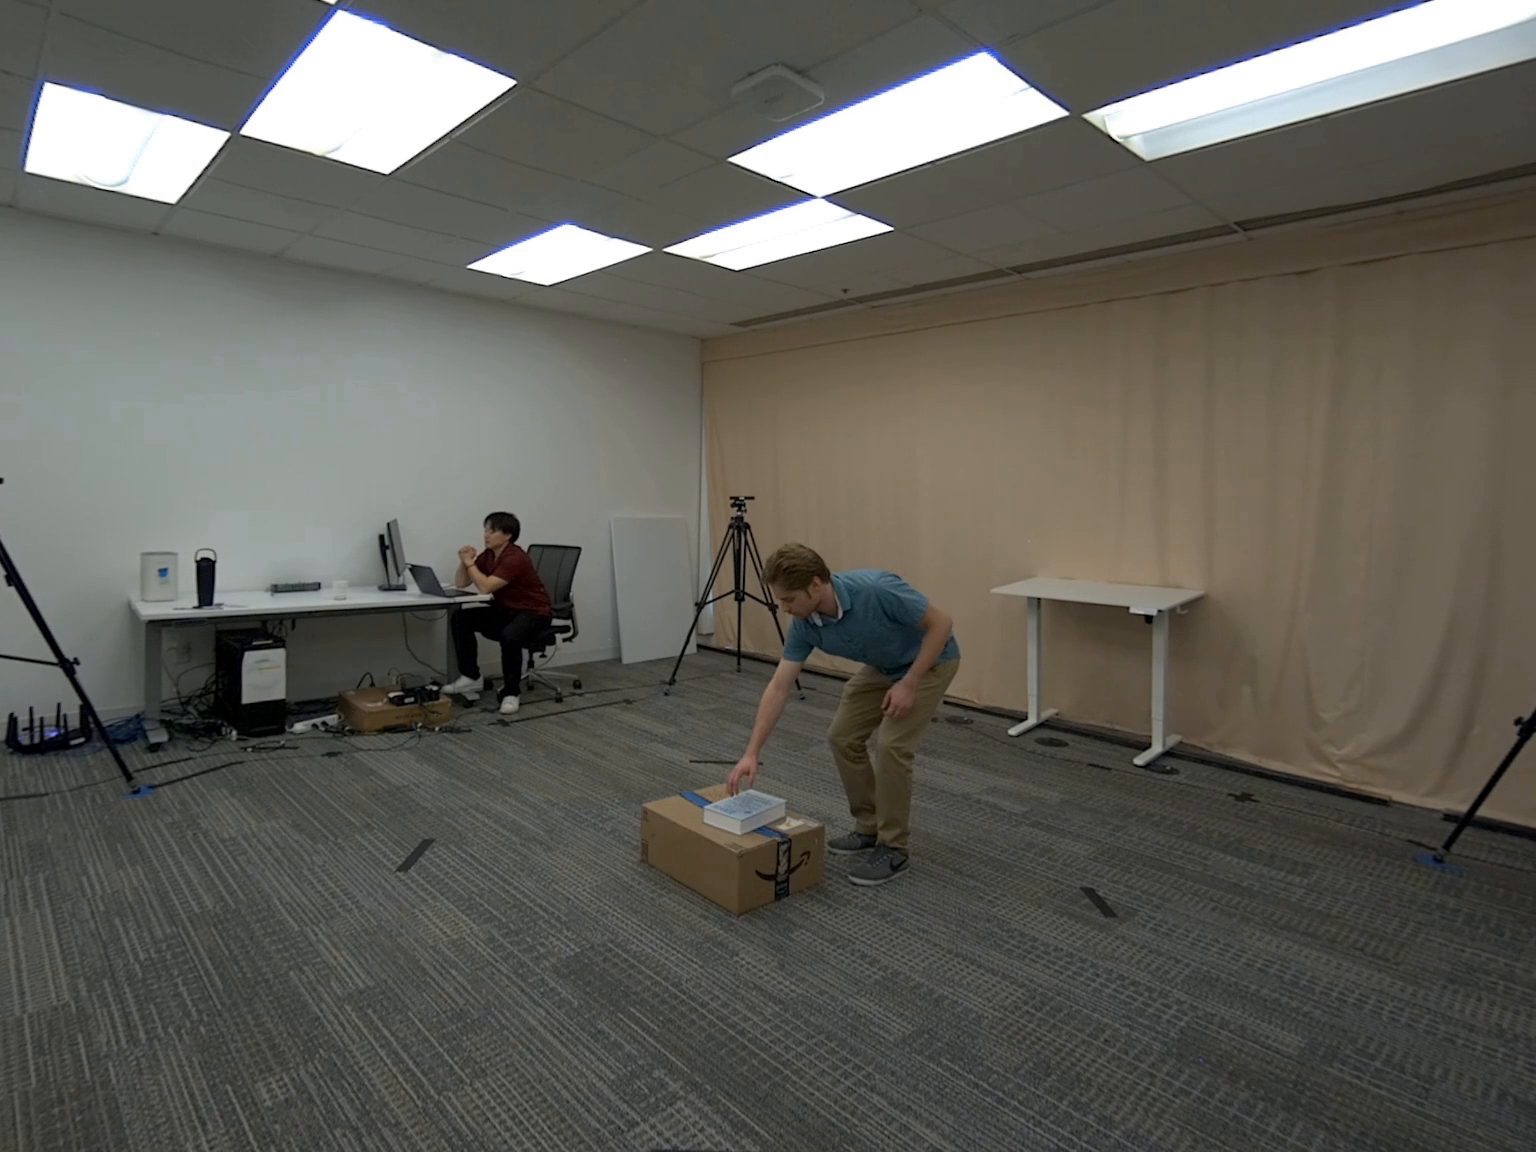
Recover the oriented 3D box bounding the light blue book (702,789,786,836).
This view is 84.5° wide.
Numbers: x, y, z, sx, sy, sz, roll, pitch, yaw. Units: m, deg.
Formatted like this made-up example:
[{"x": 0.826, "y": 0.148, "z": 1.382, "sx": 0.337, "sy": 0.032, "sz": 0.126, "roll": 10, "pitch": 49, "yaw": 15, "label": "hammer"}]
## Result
[{"x": -0.088, "y": 0.861, "z": 3.097, "sx": 0.196, "sy": 0.059, "sz": 0.255, "roll": 4, "pitch": 6, "yaw": 40, "label": "light blue book"}]
